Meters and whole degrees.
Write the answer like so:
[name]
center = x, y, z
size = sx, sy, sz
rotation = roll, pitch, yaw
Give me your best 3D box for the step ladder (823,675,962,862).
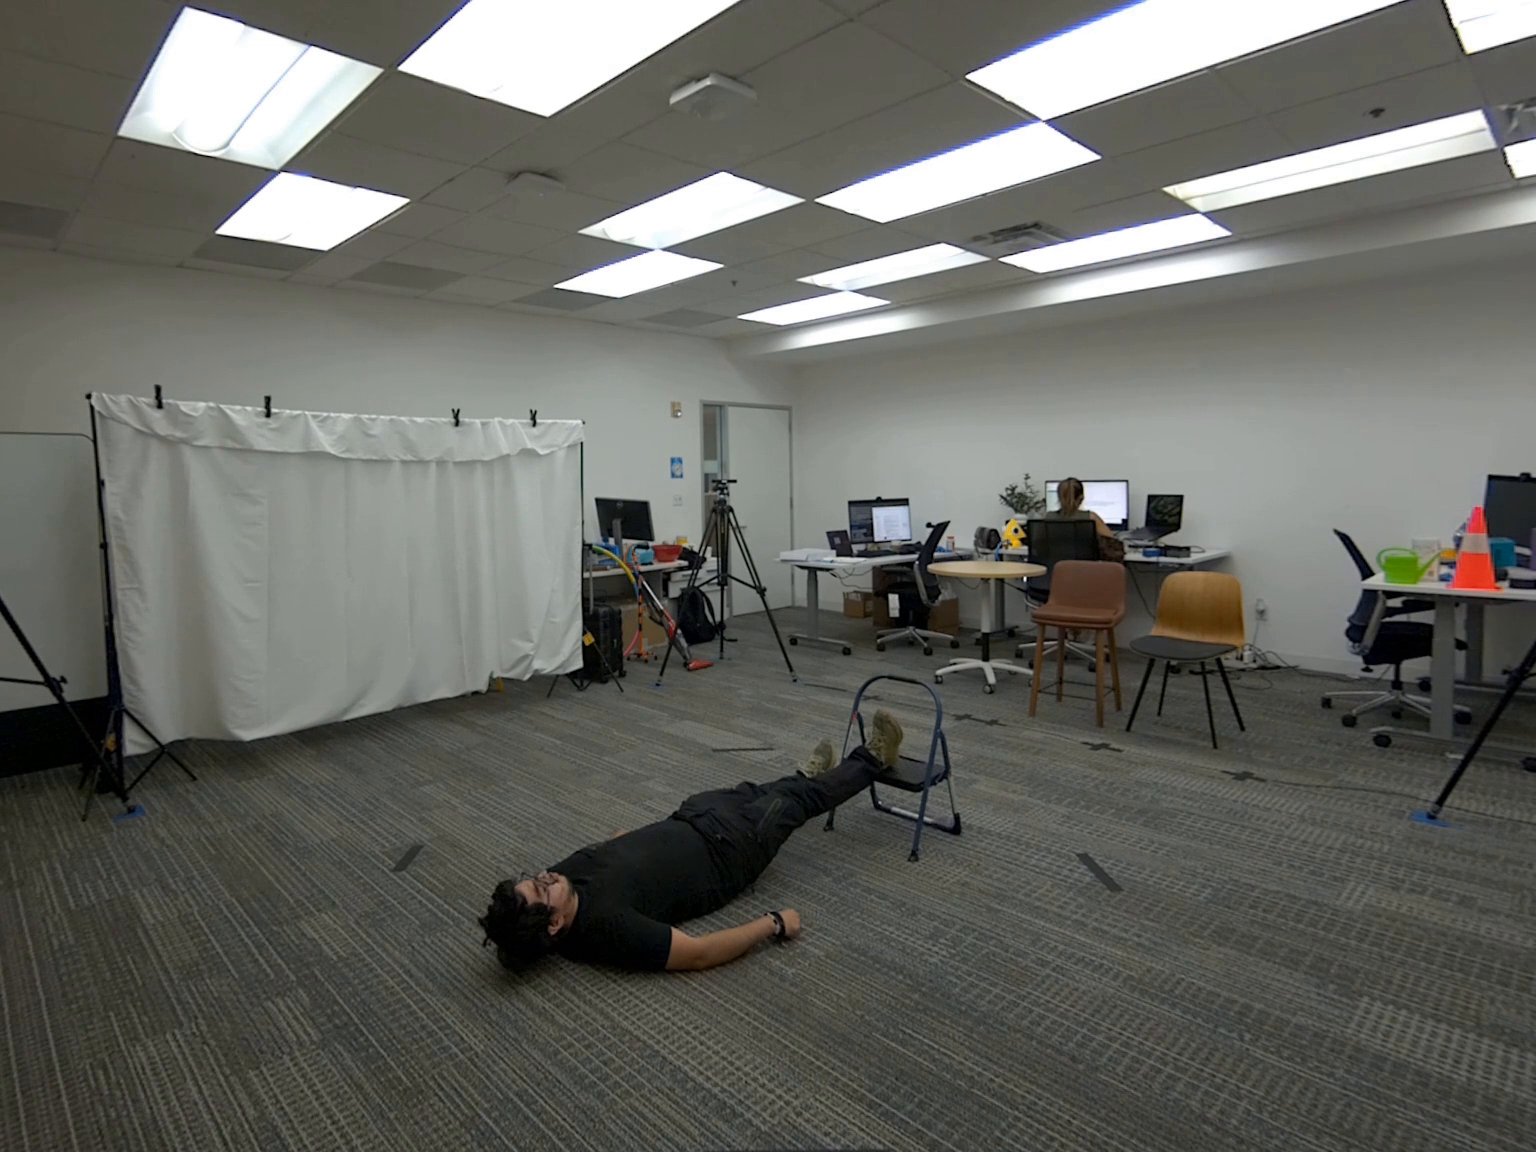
[step ladder]
center = 0.493, 0.707, 3.354
size = 0.444, 0.604, 0.340
rotation = 4, 6, 44
